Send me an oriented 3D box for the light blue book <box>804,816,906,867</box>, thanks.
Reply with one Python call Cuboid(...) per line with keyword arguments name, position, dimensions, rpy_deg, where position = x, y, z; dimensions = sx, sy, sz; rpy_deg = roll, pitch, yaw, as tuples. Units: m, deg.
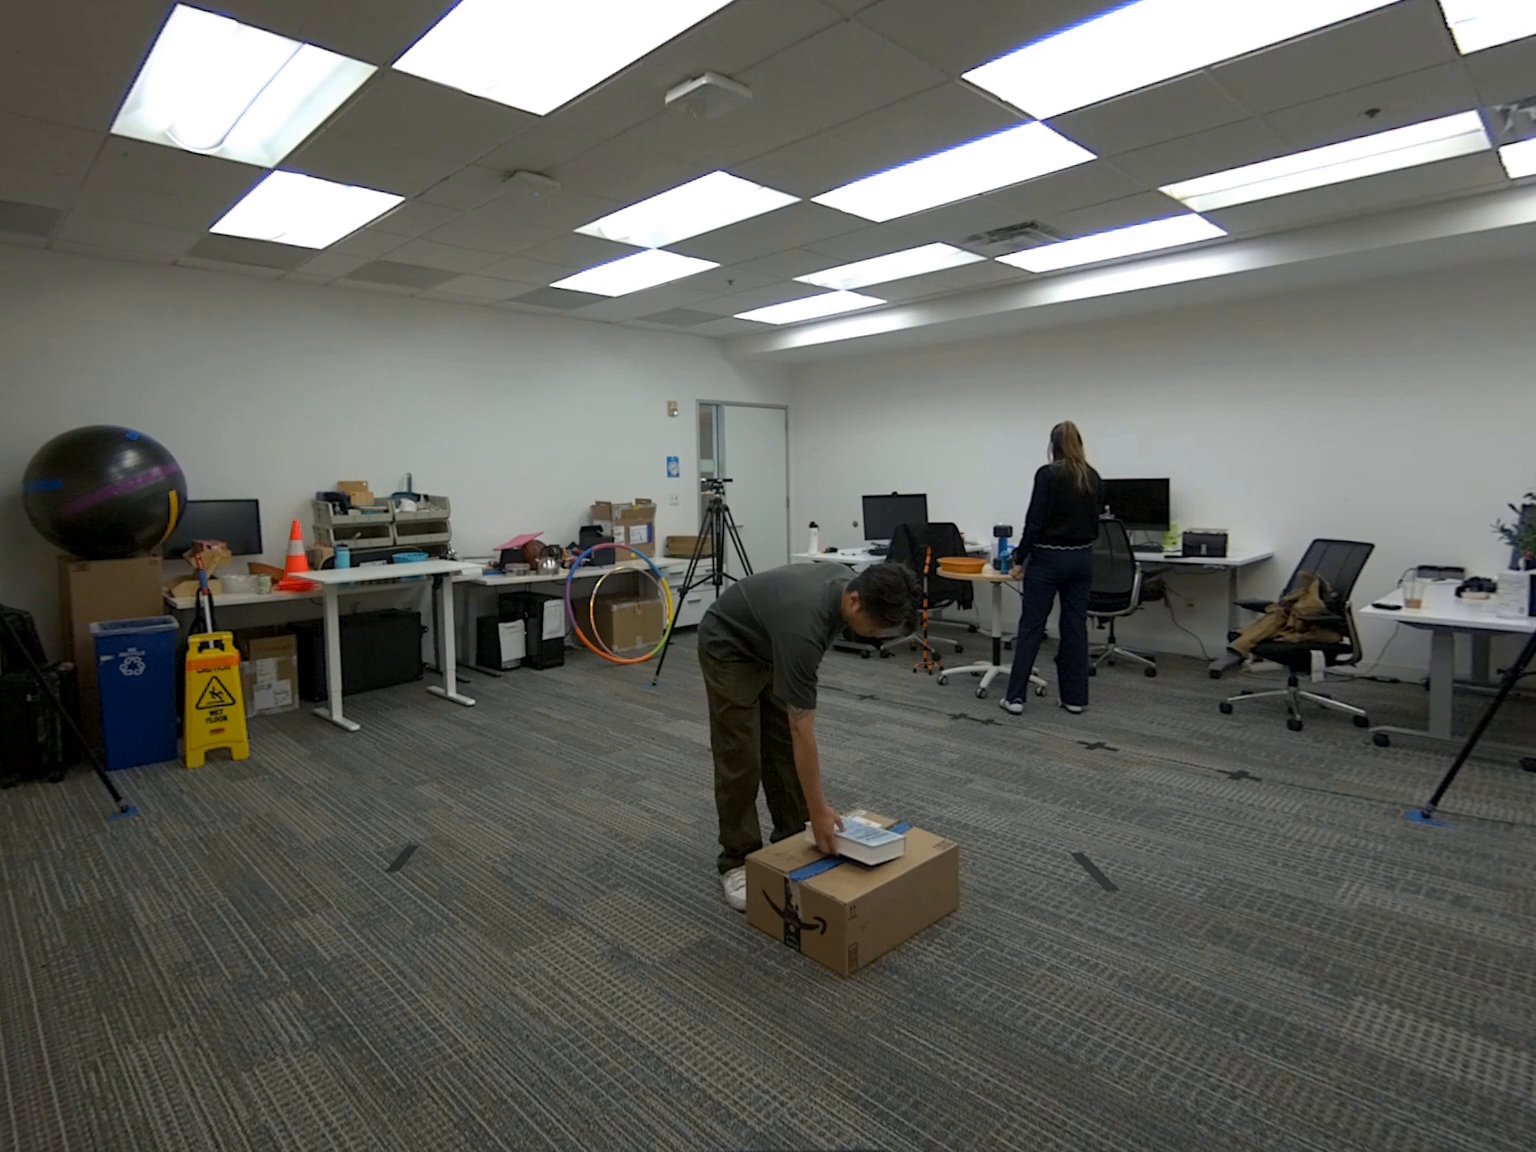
Cuboid(name="light blue book", position=(0.280, 0.828, 2.709), dimensions=(0.269, 0.059, 0.185), rpy_deg=(5, 0, 43))
